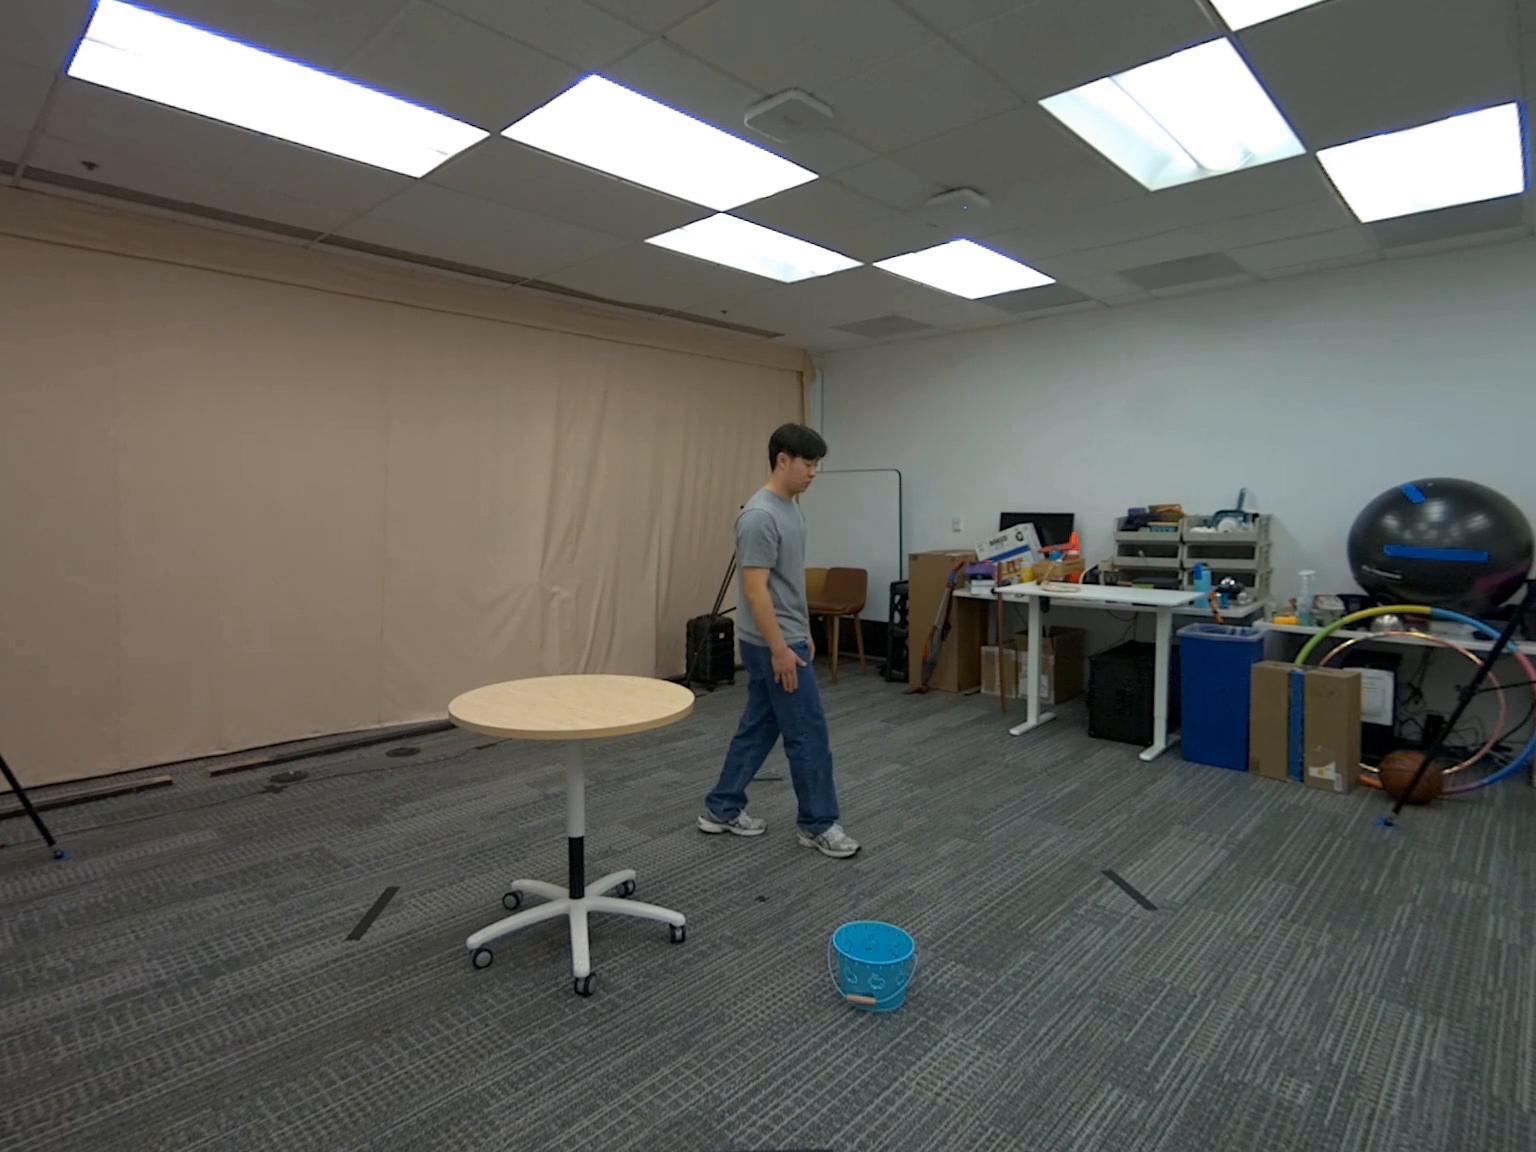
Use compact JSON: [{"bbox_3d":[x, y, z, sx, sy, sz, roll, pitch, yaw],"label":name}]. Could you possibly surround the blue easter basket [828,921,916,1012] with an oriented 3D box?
[{"bbox_3d":[0.296,1.112,2.400,0.243,0.155,0.244,0,4,-2],"label":"blue easter basket"}]
